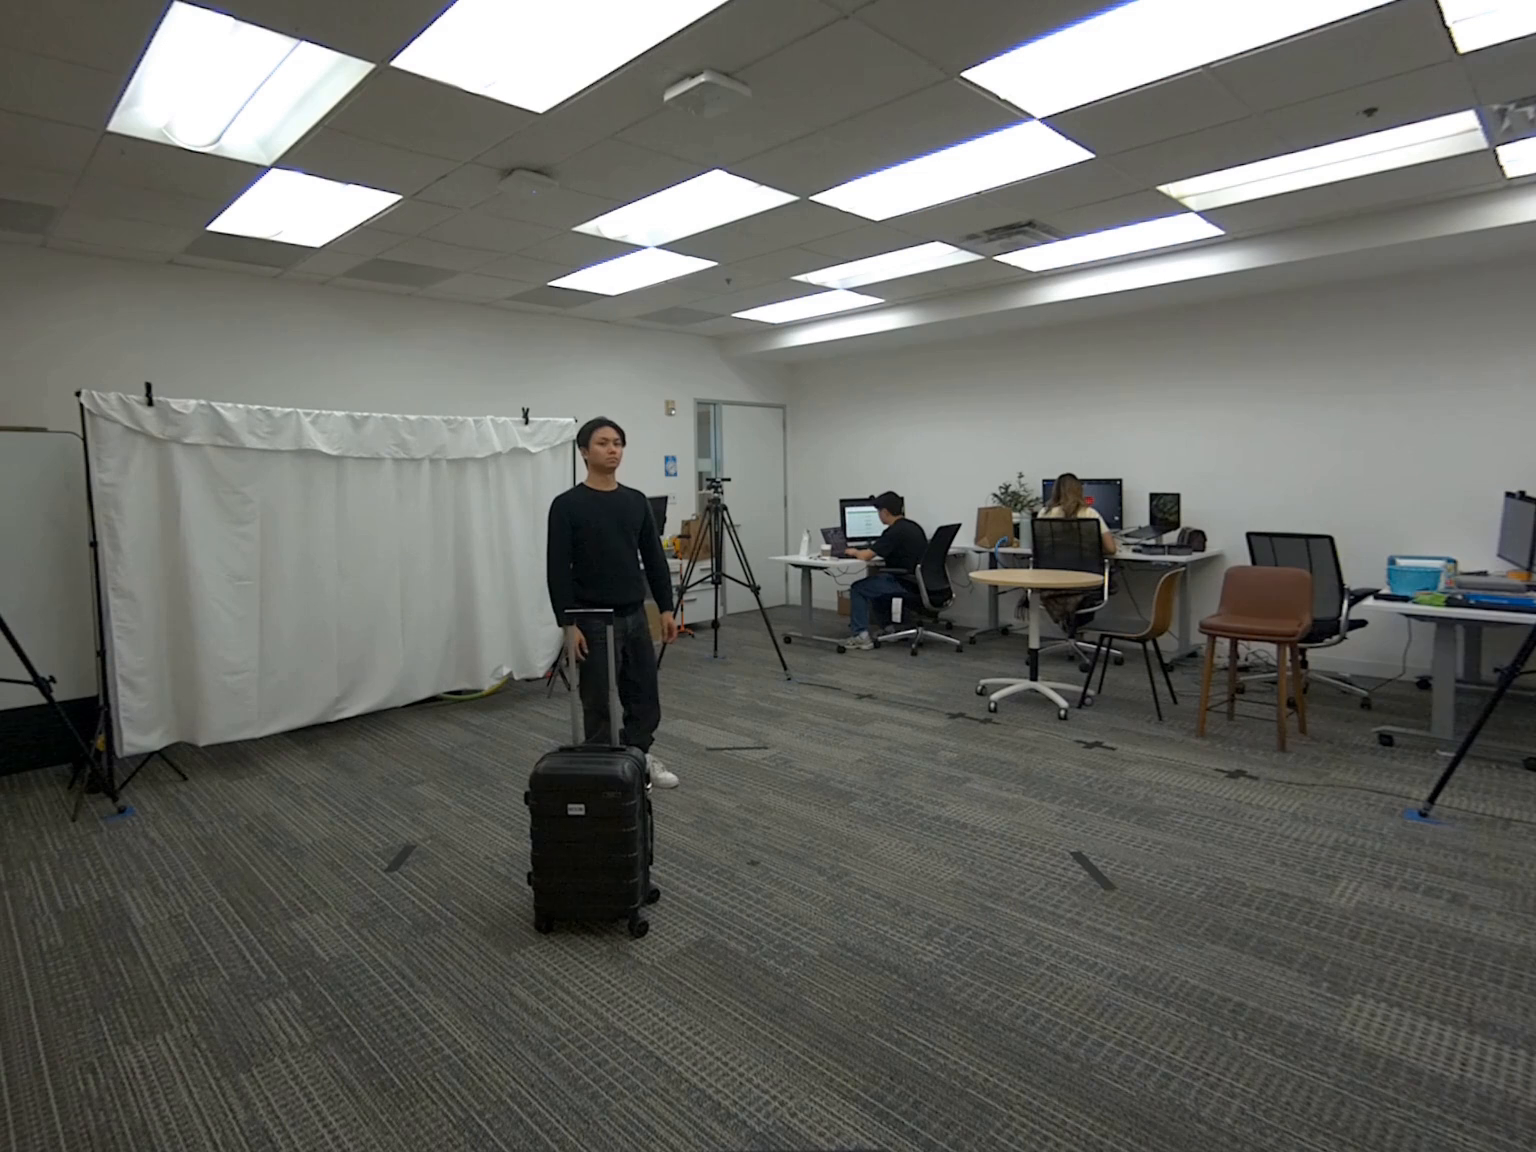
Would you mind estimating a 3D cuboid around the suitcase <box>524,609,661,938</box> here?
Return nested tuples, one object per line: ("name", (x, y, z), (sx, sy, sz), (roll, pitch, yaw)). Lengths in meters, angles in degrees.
("suitcase", (-0.562, 0.627, 2.688), (0.386, 0.972, 0.257), (-2, 6, 5))
